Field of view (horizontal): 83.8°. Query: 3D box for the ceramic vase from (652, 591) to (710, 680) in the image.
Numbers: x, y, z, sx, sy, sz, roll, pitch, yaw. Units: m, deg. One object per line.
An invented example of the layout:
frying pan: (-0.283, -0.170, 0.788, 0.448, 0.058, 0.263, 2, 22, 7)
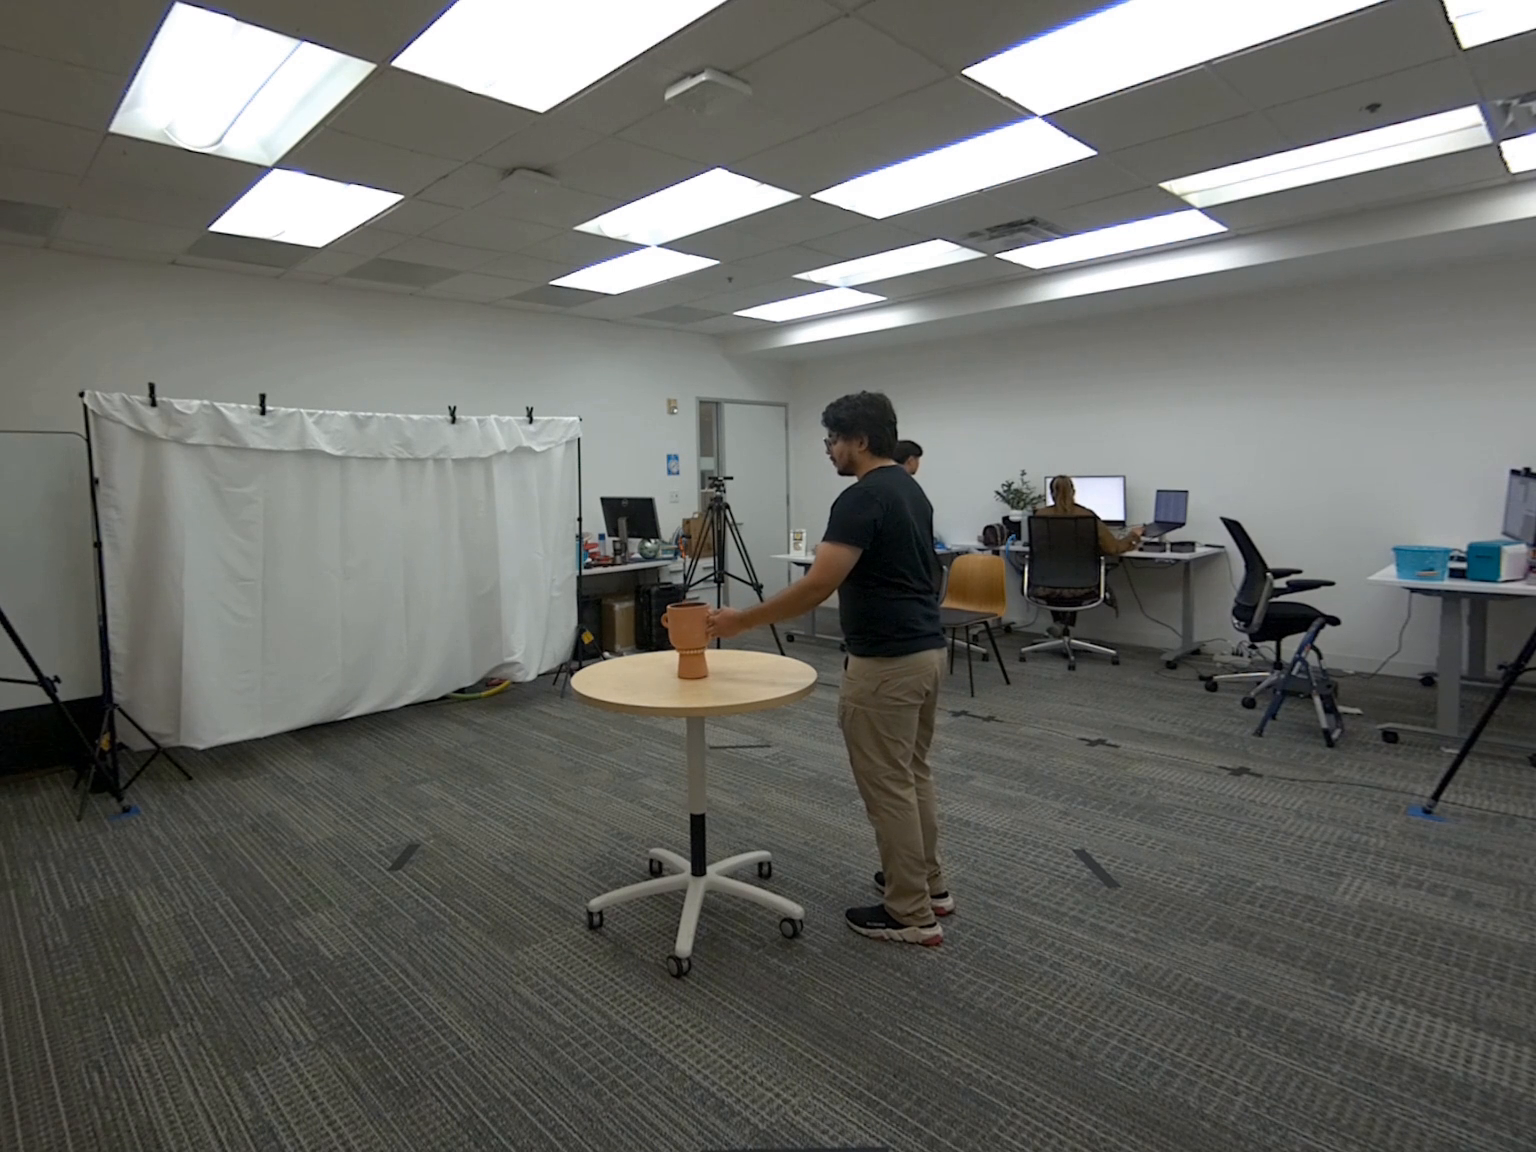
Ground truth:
ceramic vase: (-0.235, 0.197, 2.645, 0.132, 0.219, 0.163, -5, 4, -27)
